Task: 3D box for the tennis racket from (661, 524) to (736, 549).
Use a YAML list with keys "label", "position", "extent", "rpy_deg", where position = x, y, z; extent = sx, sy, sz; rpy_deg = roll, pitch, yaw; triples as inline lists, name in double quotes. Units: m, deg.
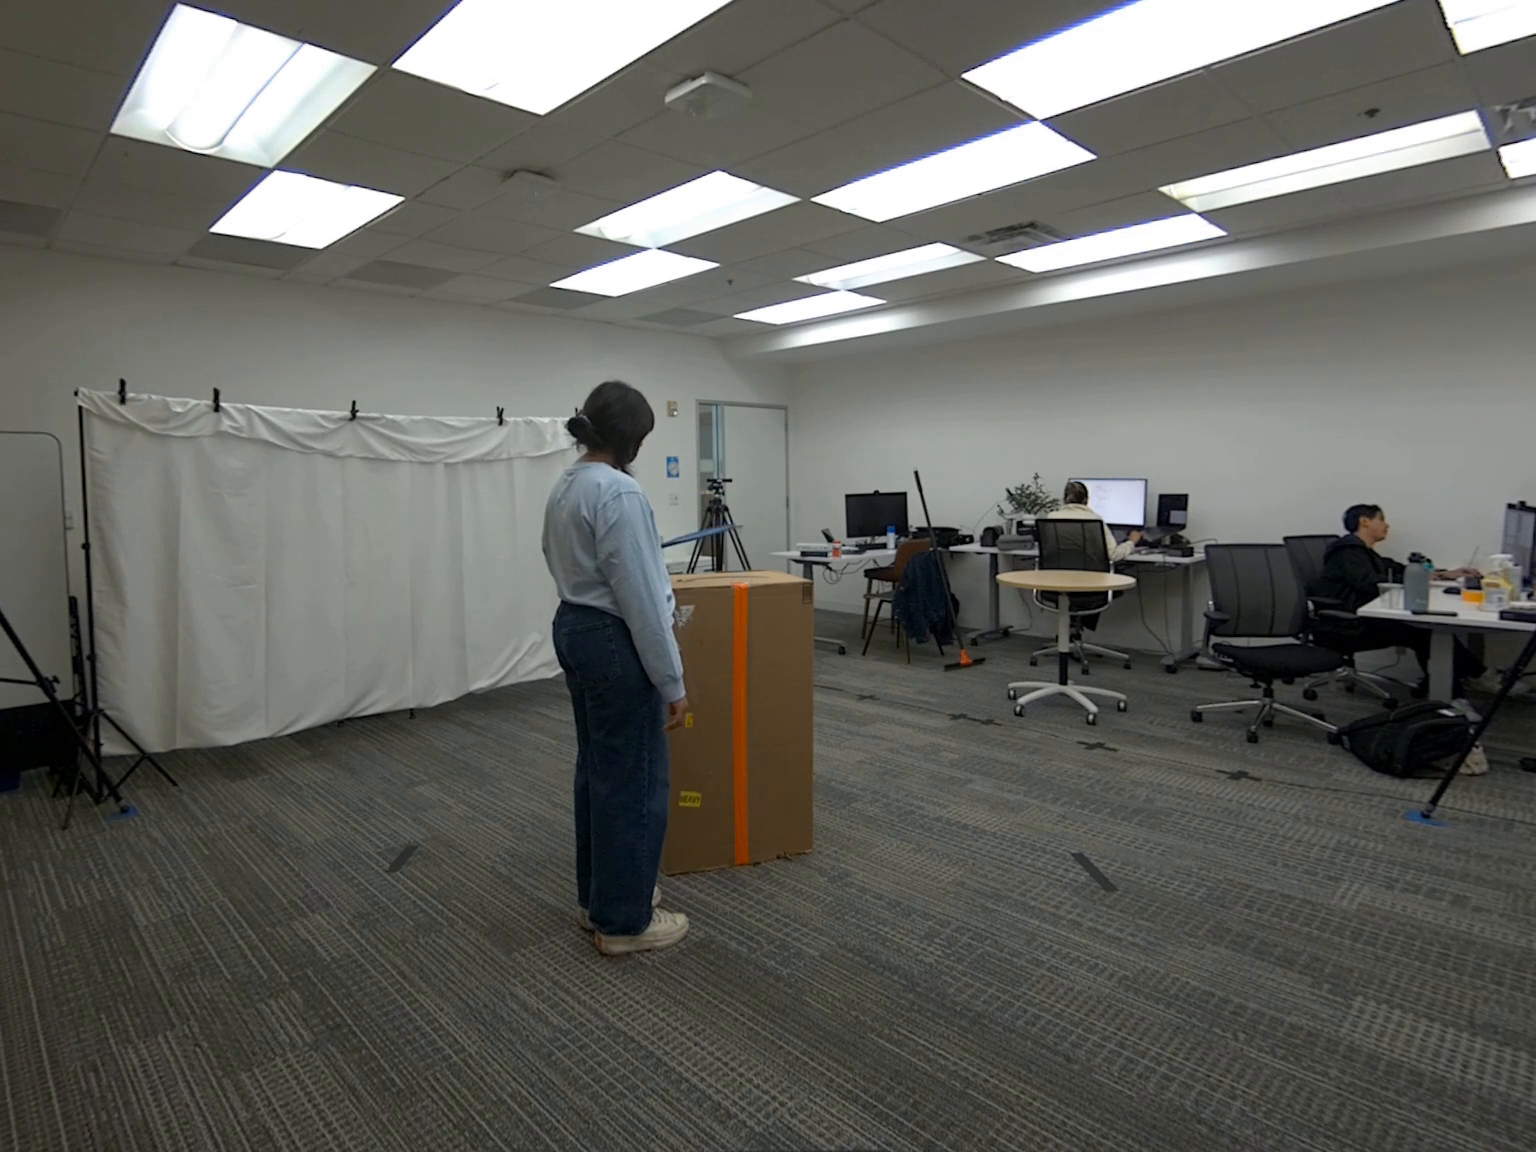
- label: "tennis racket"
  position: [-0.302, -0.134, 3.094]
  extent: [0.425, 0.031, 0.219]
  rpy_deg: [-21, 11, -36]
